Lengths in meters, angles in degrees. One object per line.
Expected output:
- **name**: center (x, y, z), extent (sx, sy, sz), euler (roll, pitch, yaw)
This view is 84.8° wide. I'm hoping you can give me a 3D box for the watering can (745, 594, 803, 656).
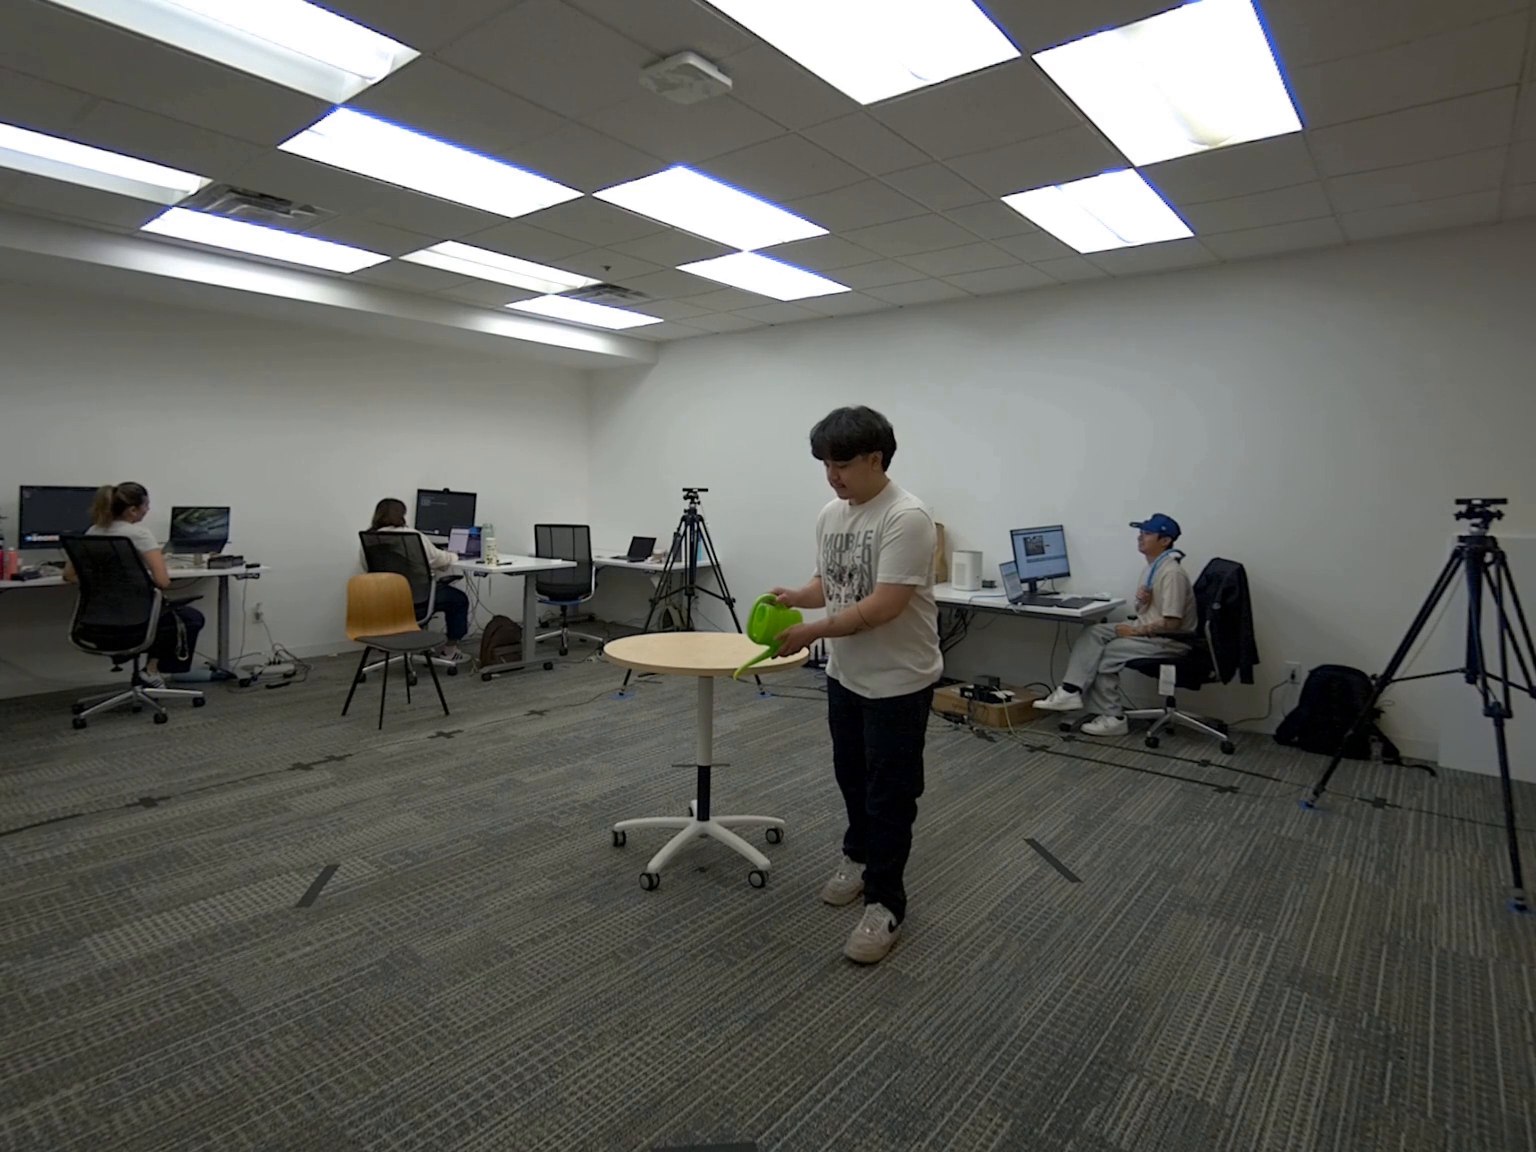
- **watering can**: center (-0.017, 0.193, 2.684), extent (0.172, 0.277, 0.101), euler (16, 11, -25)
